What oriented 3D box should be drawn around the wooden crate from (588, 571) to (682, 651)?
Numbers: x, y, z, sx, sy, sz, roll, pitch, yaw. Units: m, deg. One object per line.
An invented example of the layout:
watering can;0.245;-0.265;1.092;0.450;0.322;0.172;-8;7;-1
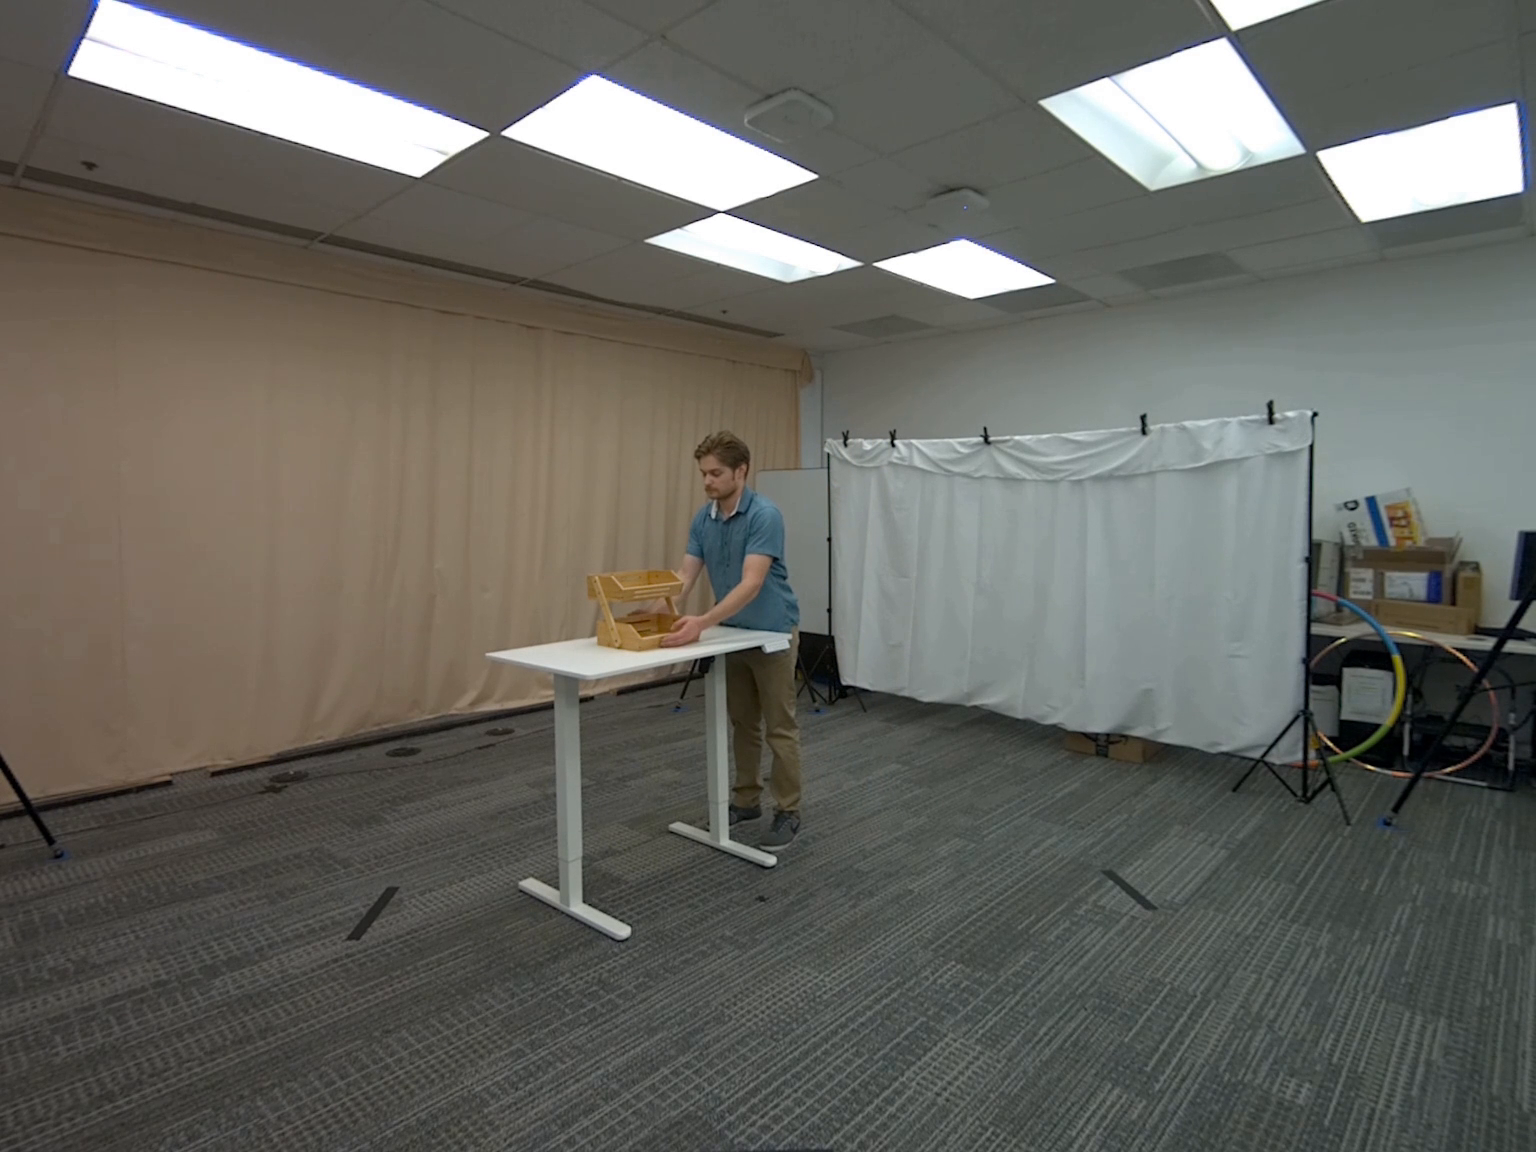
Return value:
wooden crate;-0.464;0.119;3.150;0.312;0.273;0.314;2;4;43
